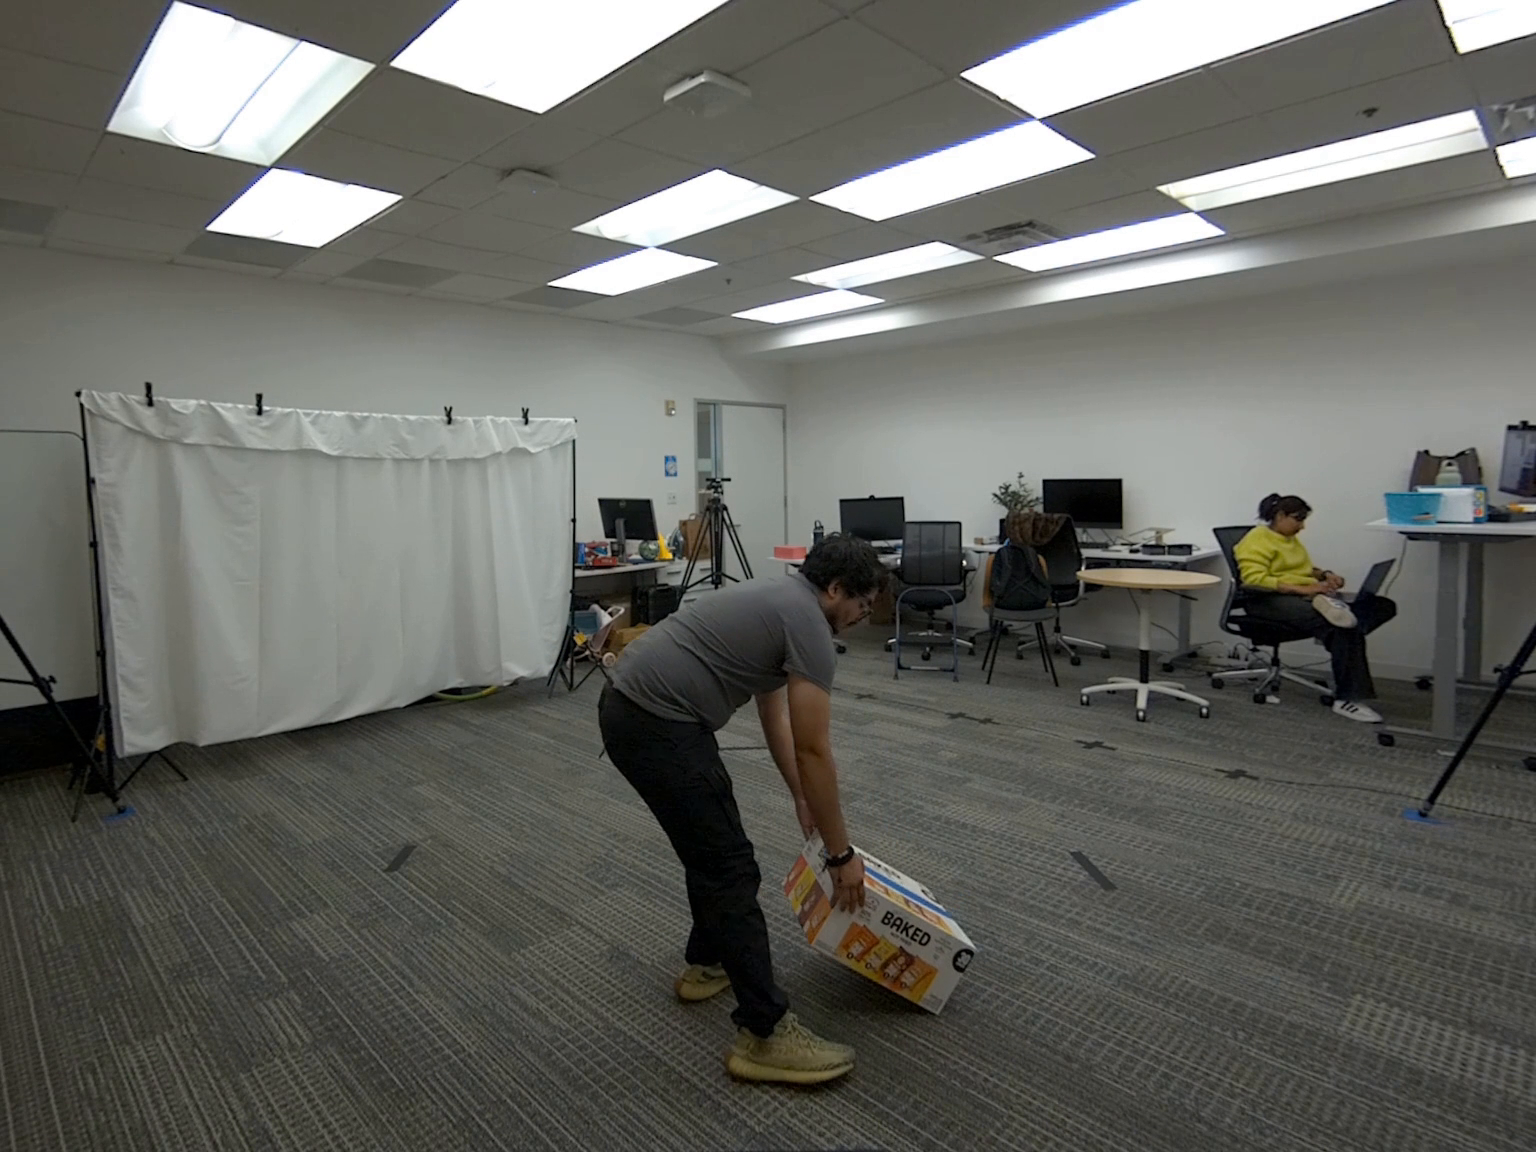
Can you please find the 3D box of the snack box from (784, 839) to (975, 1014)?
[{"bbox_3d":[0.296,0.934,2.344,0.400,0.206,0.345,33,-1,-11],"label":"snack box"}]
